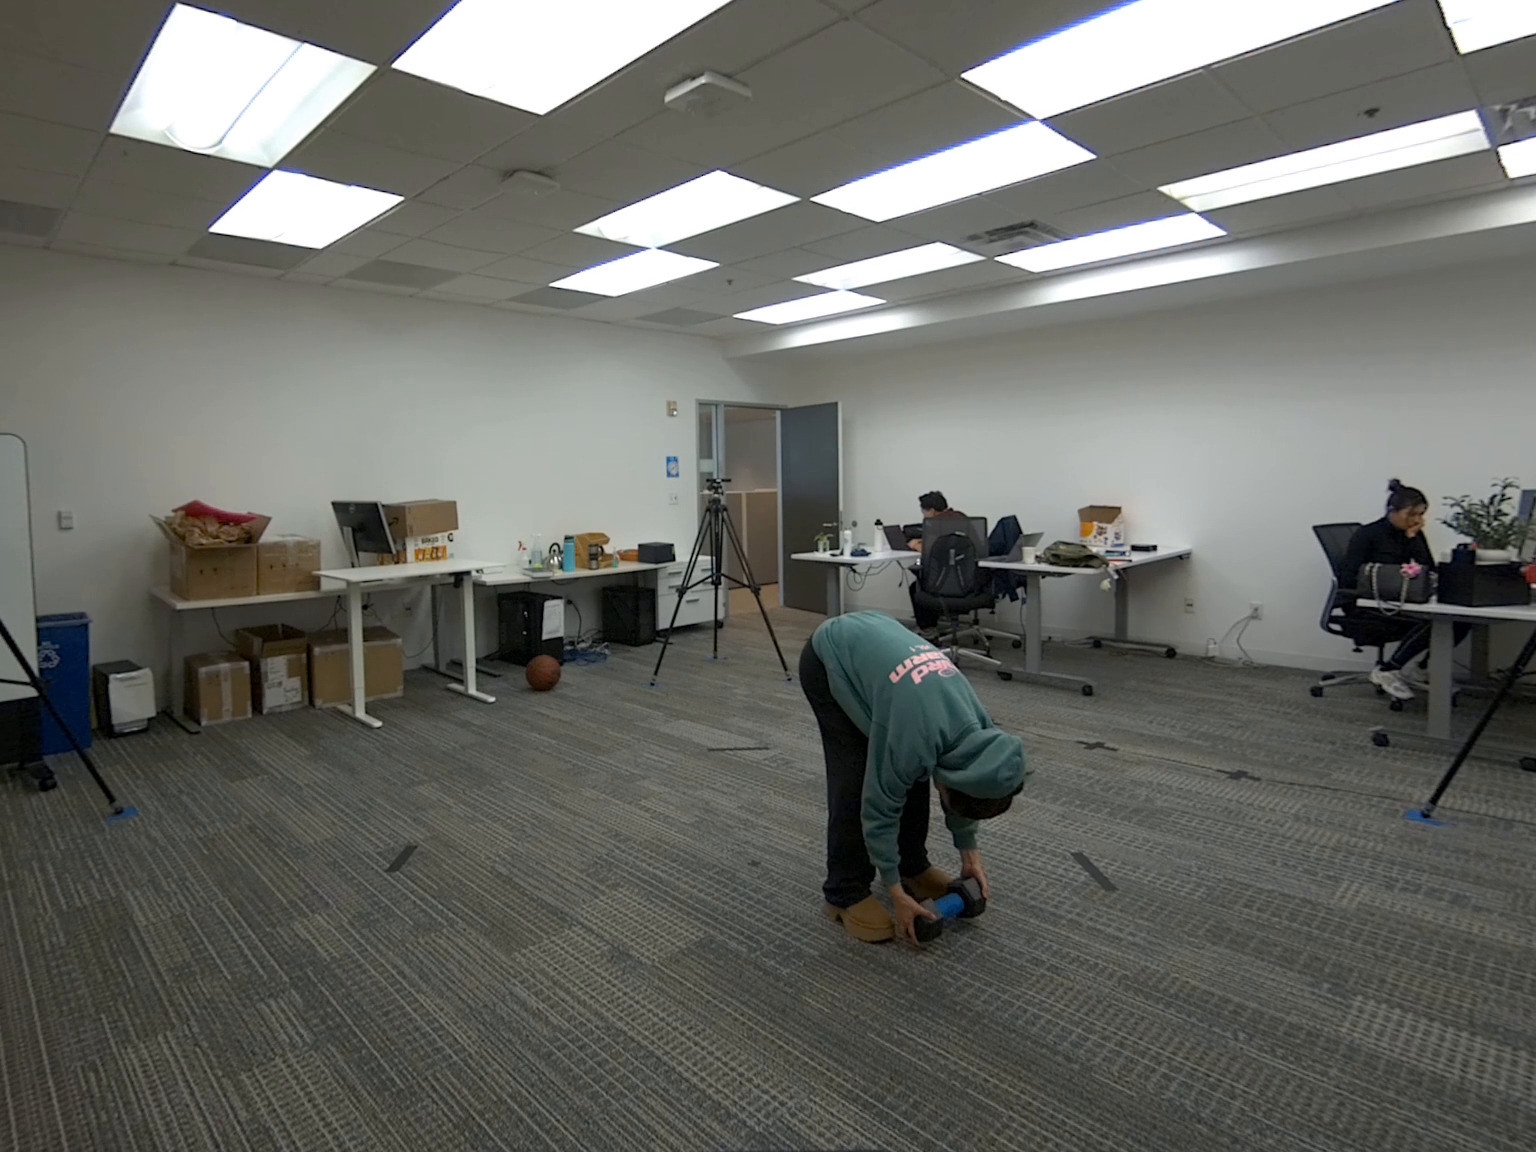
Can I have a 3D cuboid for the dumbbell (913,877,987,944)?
[{"bbox_3d":[0.531,1.005,2.602,0.286,0.122,0.113,-6,17,-38],"label":"dumbbell"}]
